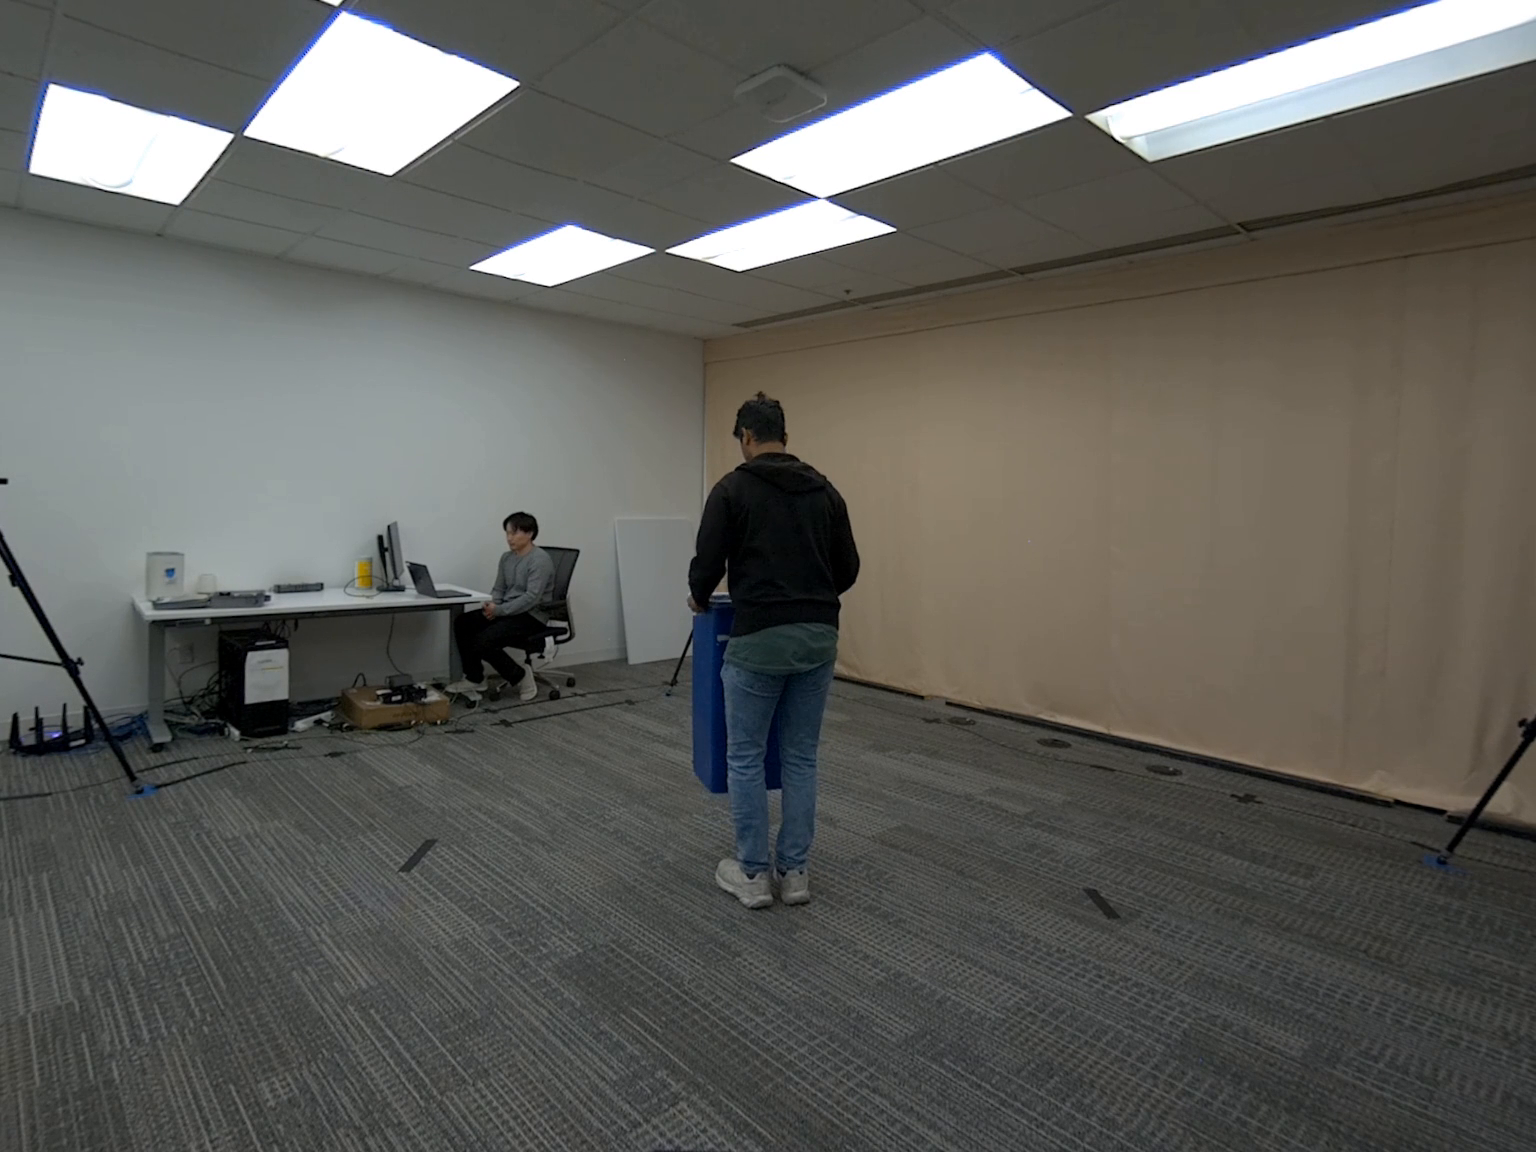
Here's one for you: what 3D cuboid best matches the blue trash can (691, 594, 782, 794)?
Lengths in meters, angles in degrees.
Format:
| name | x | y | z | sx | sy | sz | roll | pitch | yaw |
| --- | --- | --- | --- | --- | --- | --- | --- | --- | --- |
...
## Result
| name | x | y | z | sx | sy | sz | roll | pitch | yaw |
| --- | --- | --- | --- | --- | --- | --- | --- | --- | --- |
| blue trash can | -0.104 | 0.446 | 3.270 | 0.369 | 0.713 | 0.384 | 0 | 2 | -18 |
